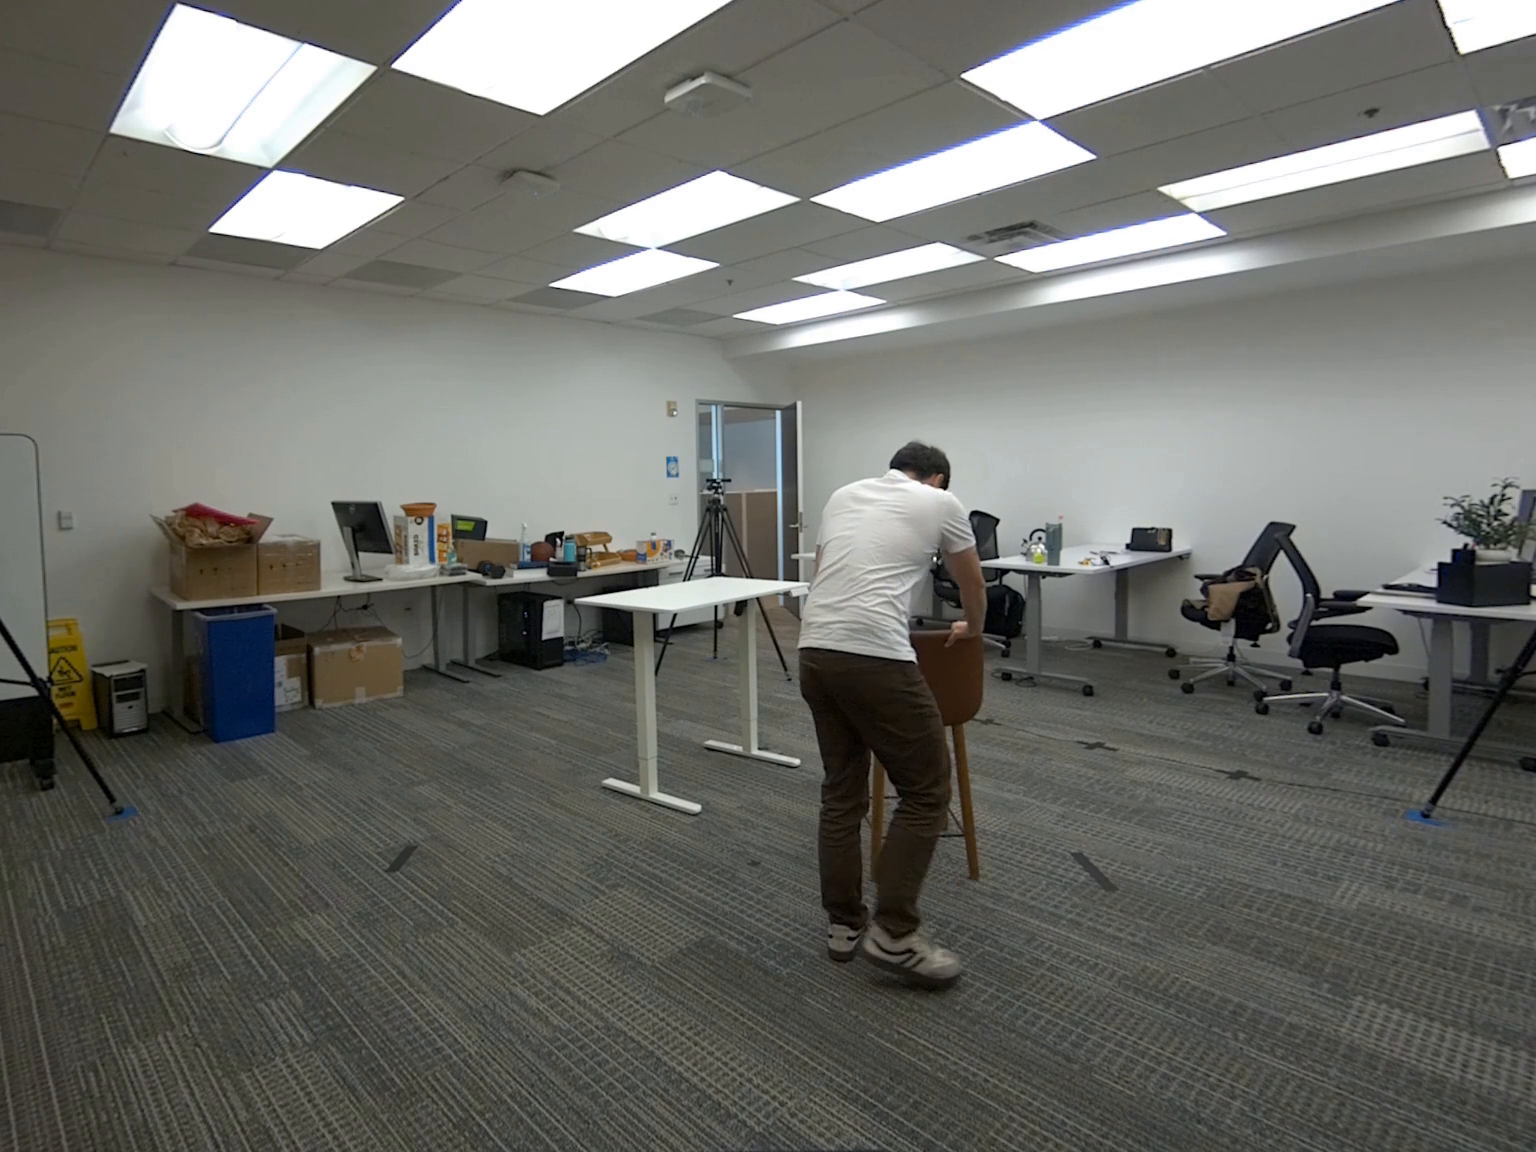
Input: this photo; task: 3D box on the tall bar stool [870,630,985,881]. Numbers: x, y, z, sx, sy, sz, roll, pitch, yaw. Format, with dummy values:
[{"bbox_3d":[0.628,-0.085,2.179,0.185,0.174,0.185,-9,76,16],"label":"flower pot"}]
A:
[{"bbox_3d":[0.529,0.595,3.136,0.456,0.885,0.471,-1,6,-2],"label":"tall bar stool"}]
